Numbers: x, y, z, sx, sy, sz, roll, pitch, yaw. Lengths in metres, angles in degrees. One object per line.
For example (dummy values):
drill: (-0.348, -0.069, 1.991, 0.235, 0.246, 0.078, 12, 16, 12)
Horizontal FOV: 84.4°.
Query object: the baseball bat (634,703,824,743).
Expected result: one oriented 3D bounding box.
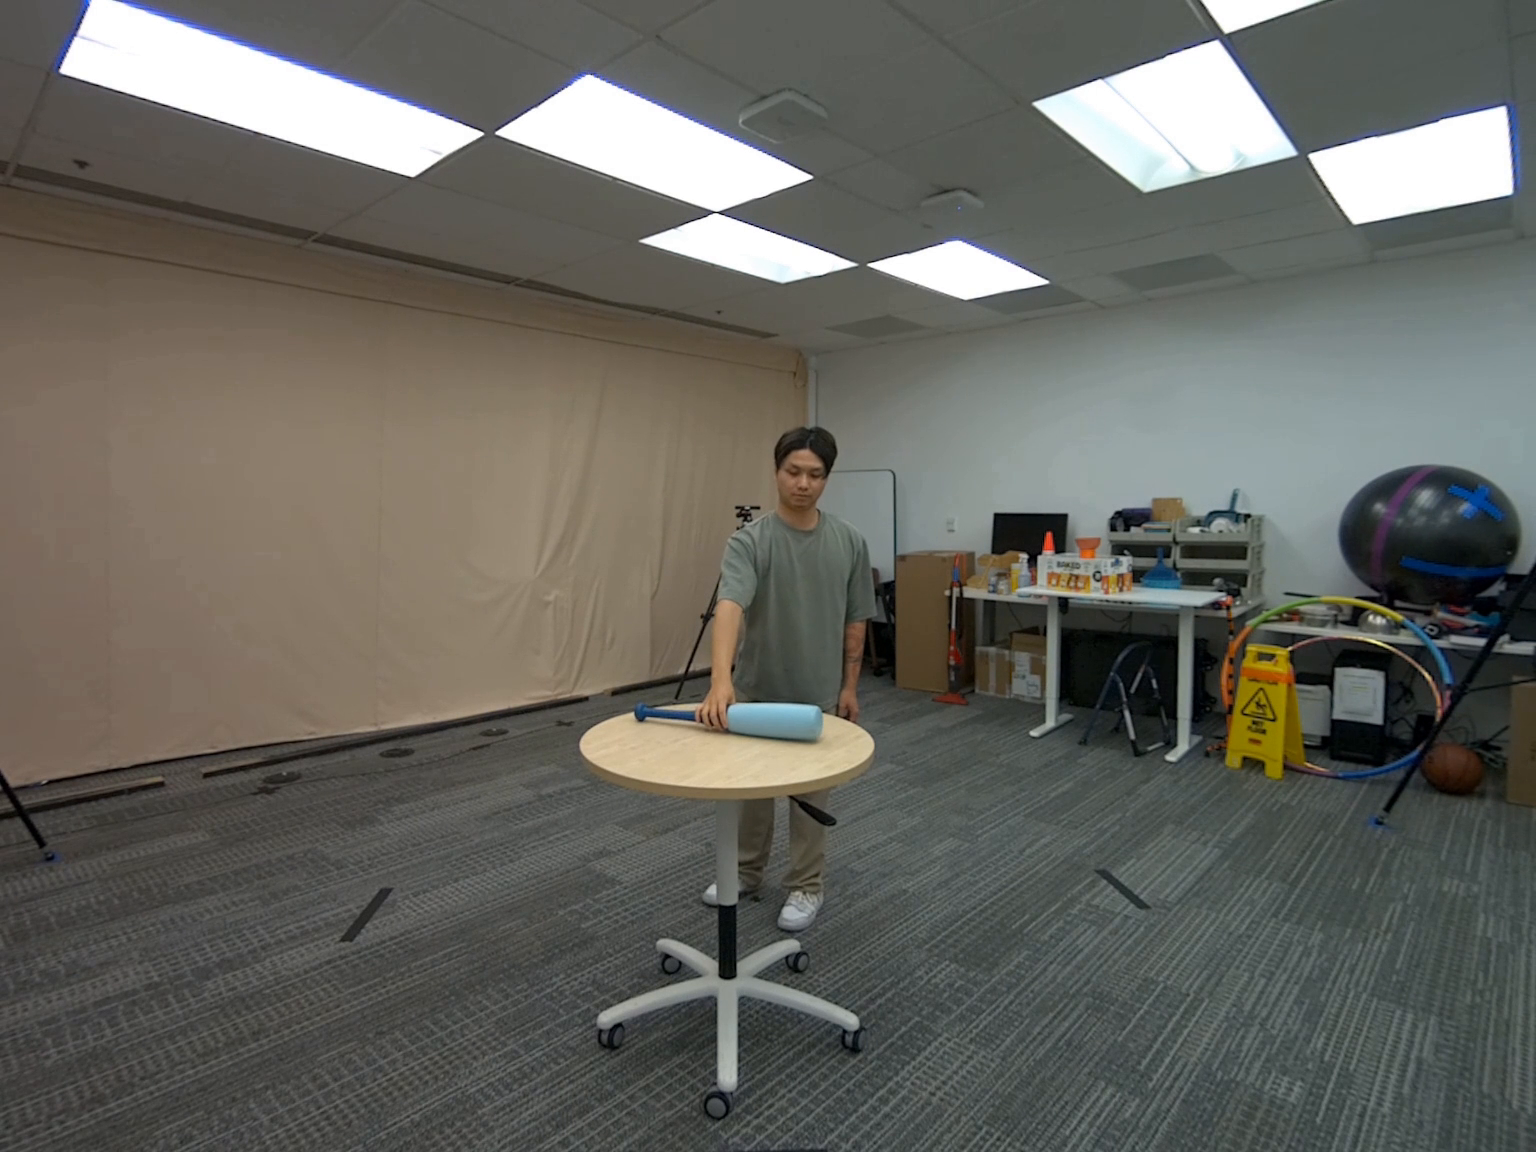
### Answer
baseball bat: (-0.119, 0.383, 2.276, 0.555, 0.089, 0.087, -1, 3, 23)
